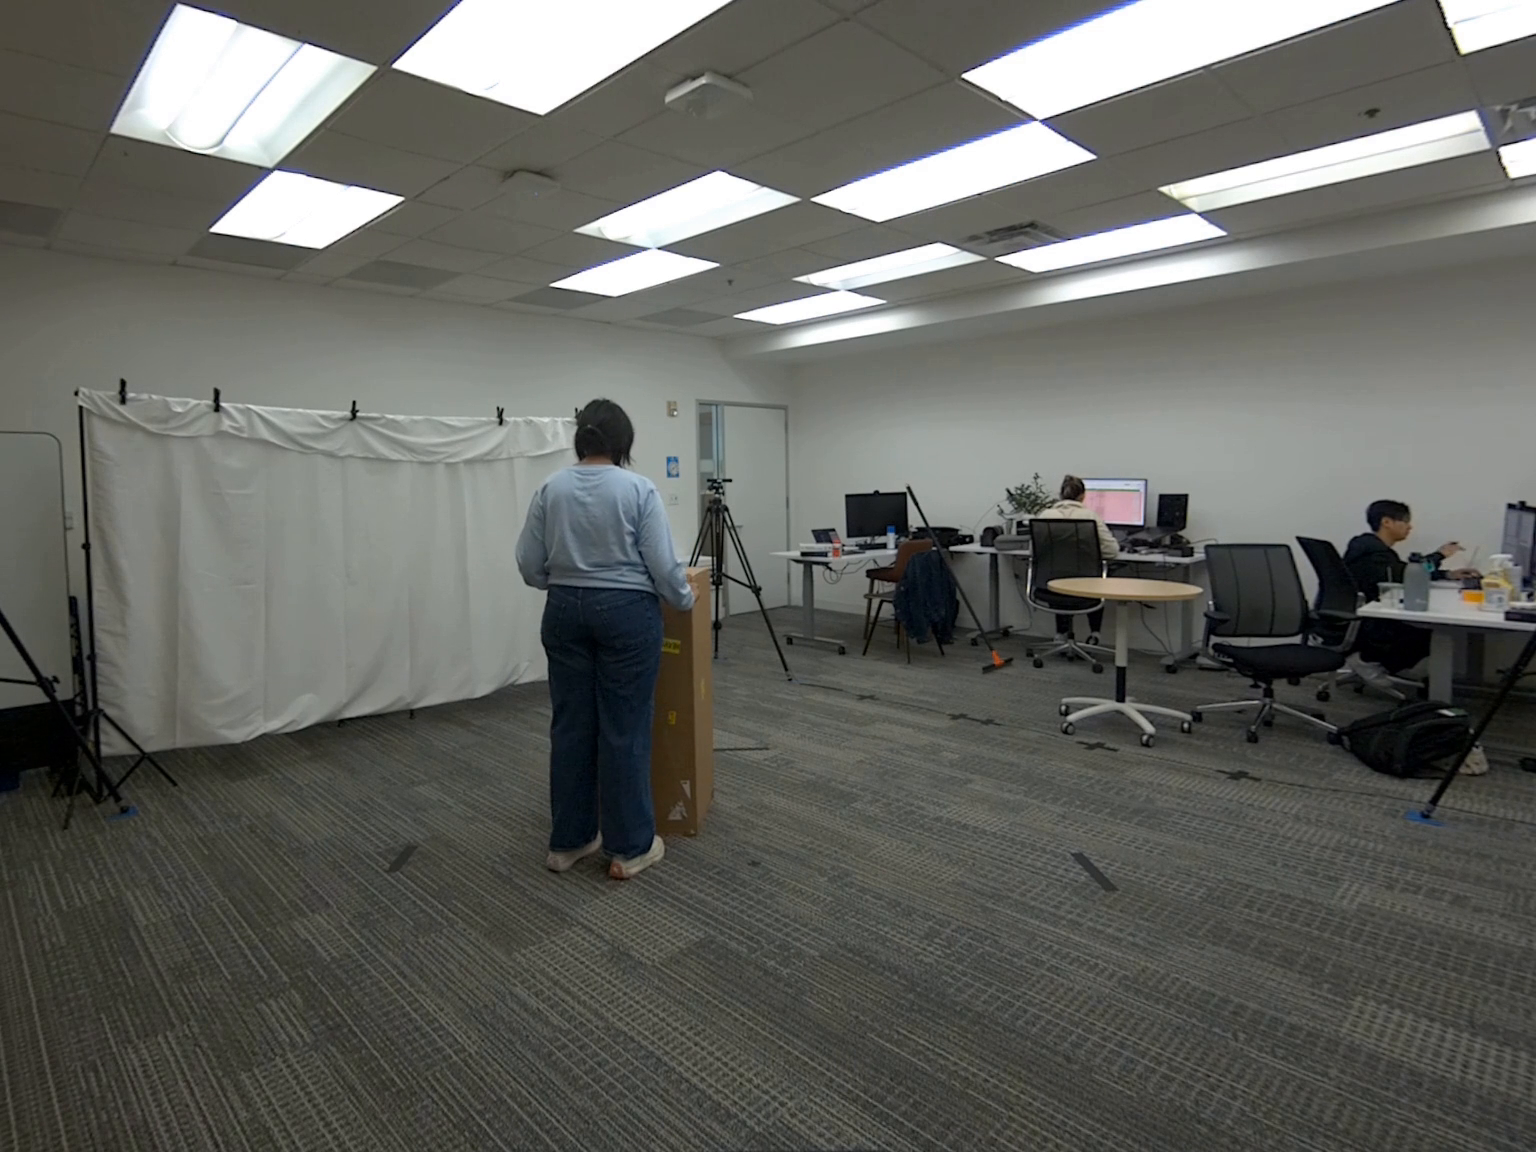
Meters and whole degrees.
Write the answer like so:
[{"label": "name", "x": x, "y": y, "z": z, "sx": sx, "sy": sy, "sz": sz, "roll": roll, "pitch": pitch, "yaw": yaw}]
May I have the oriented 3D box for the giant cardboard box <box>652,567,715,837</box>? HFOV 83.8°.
[{"label": "giant cardboard box", "x": -0.549, "y": 0.488, "z": 3.579, "sx": 0.590, "sy": 1.024, "sz": 0.444, "roll": 0, "pitch": 4, "yaw": 9}]
